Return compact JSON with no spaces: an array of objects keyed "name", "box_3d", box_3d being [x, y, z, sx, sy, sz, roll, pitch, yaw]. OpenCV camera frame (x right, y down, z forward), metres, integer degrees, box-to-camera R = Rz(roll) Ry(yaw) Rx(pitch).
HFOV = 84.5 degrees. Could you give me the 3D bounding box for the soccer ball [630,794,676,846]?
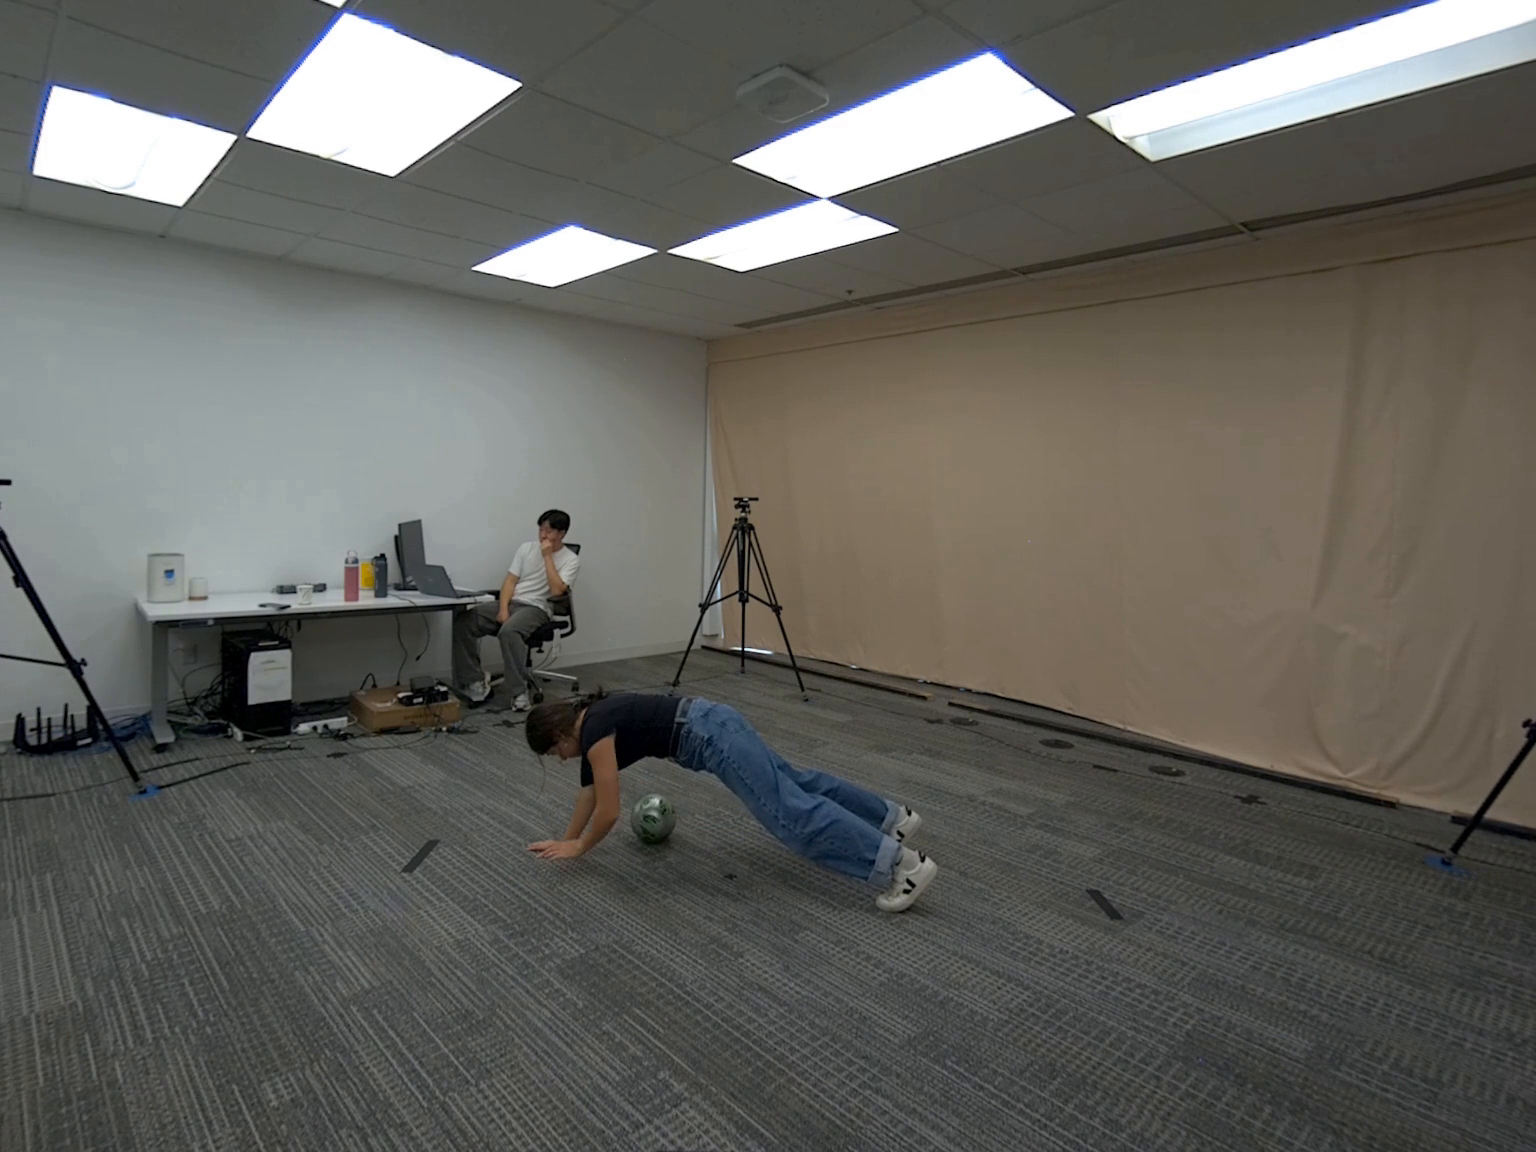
[{"name":"soccer ball","box_3d":[-0.462,0.976,3.409,0.187,0.187,0.188,1,4,-1]}]
